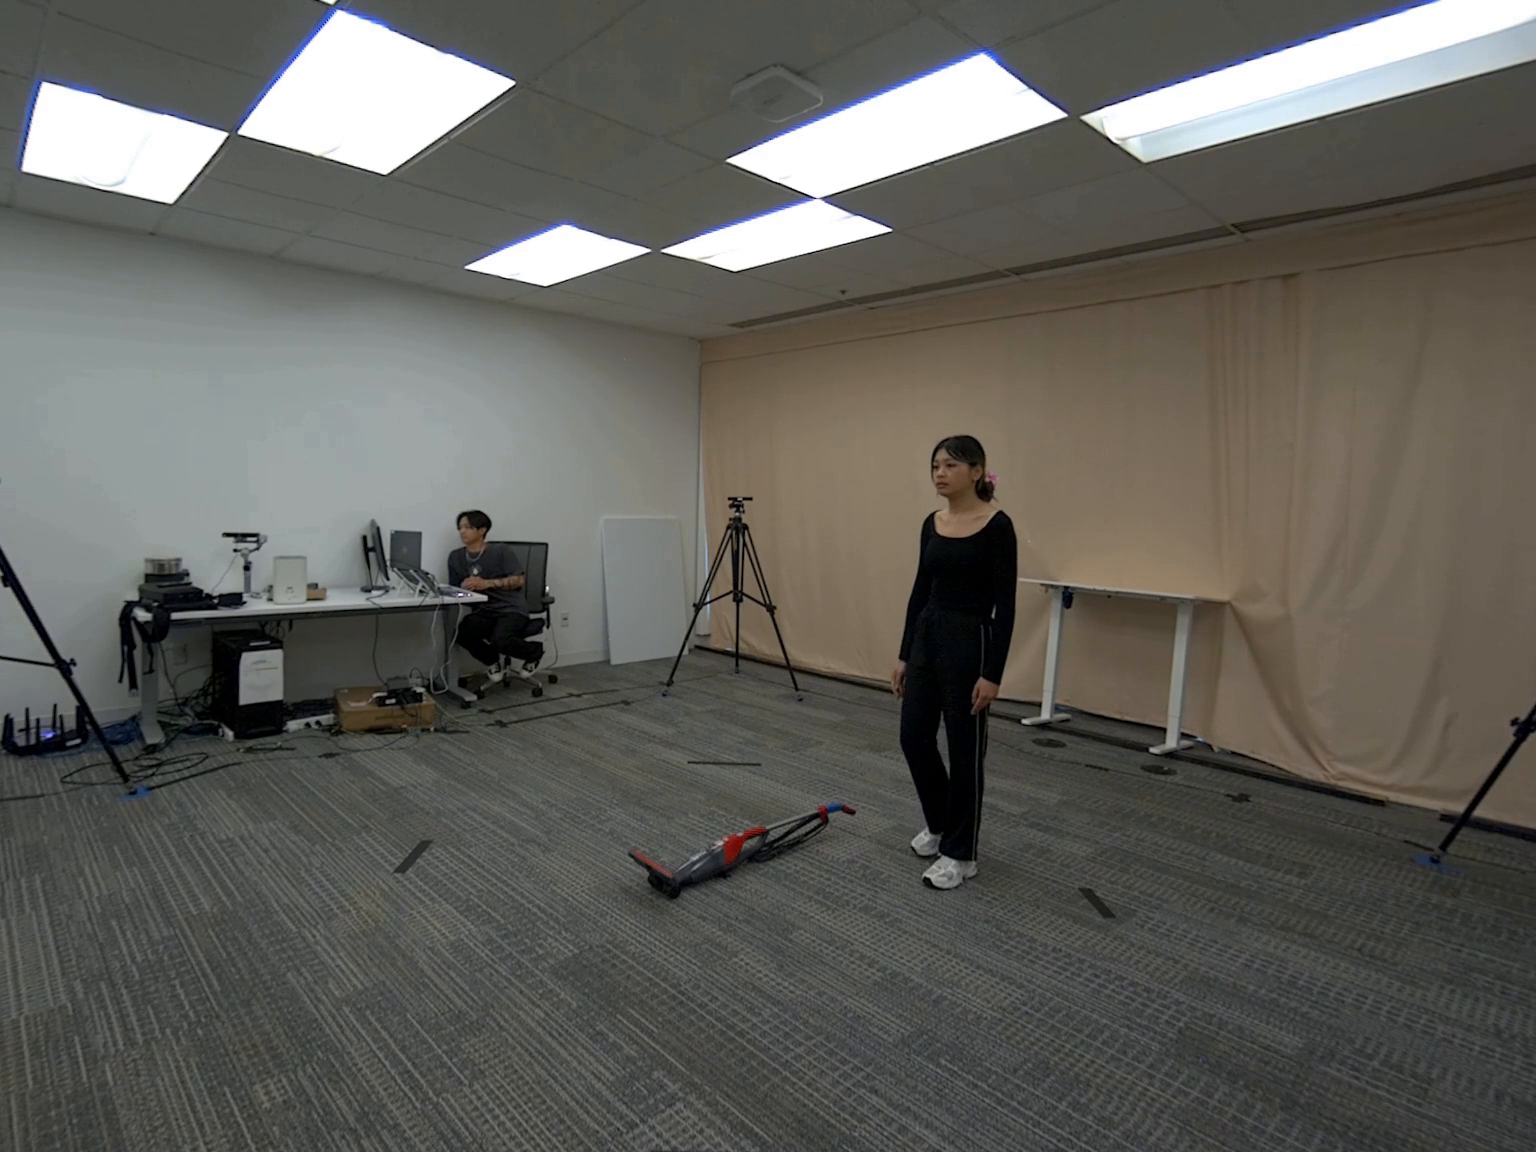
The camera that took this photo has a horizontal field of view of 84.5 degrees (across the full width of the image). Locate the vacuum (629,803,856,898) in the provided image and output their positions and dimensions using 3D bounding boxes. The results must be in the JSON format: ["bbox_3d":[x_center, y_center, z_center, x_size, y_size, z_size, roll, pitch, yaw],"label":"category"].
[{"bbox_3d":[-0.020,1.038,3.276,1.025,0.143,0.259,-2,8,-43],"label":"vacuum"}]
